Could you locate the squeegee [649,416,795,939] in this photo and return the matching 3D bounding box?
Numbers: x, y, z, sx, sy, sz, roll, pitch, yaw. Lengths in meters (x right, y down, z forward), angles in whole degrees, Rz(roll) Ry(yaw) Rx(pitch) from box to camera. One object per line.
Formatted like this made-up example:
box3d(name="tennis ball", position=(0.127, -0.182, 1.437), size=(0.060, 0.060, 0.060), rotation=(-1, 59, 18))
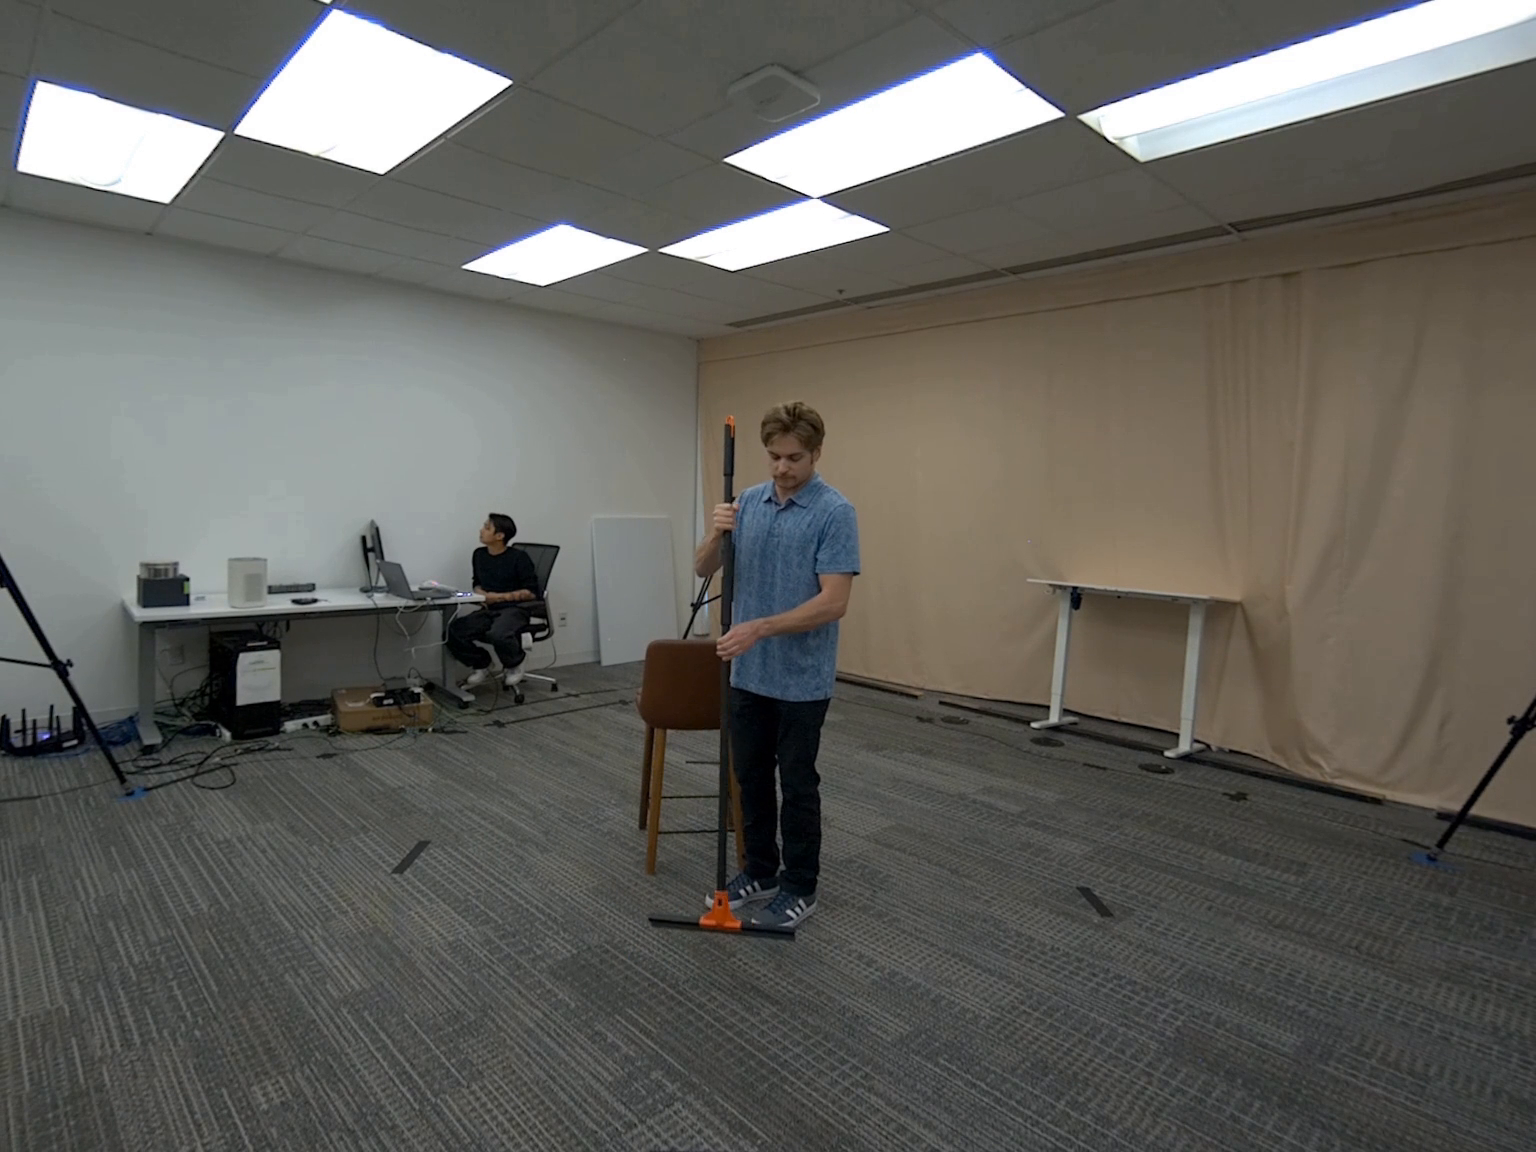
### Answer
box3d(name="squeegee", position=(-0.136, 0.305, 2.503), size=(0.443, 1.546, 0.052), rotation=(-2, -8, 17))
